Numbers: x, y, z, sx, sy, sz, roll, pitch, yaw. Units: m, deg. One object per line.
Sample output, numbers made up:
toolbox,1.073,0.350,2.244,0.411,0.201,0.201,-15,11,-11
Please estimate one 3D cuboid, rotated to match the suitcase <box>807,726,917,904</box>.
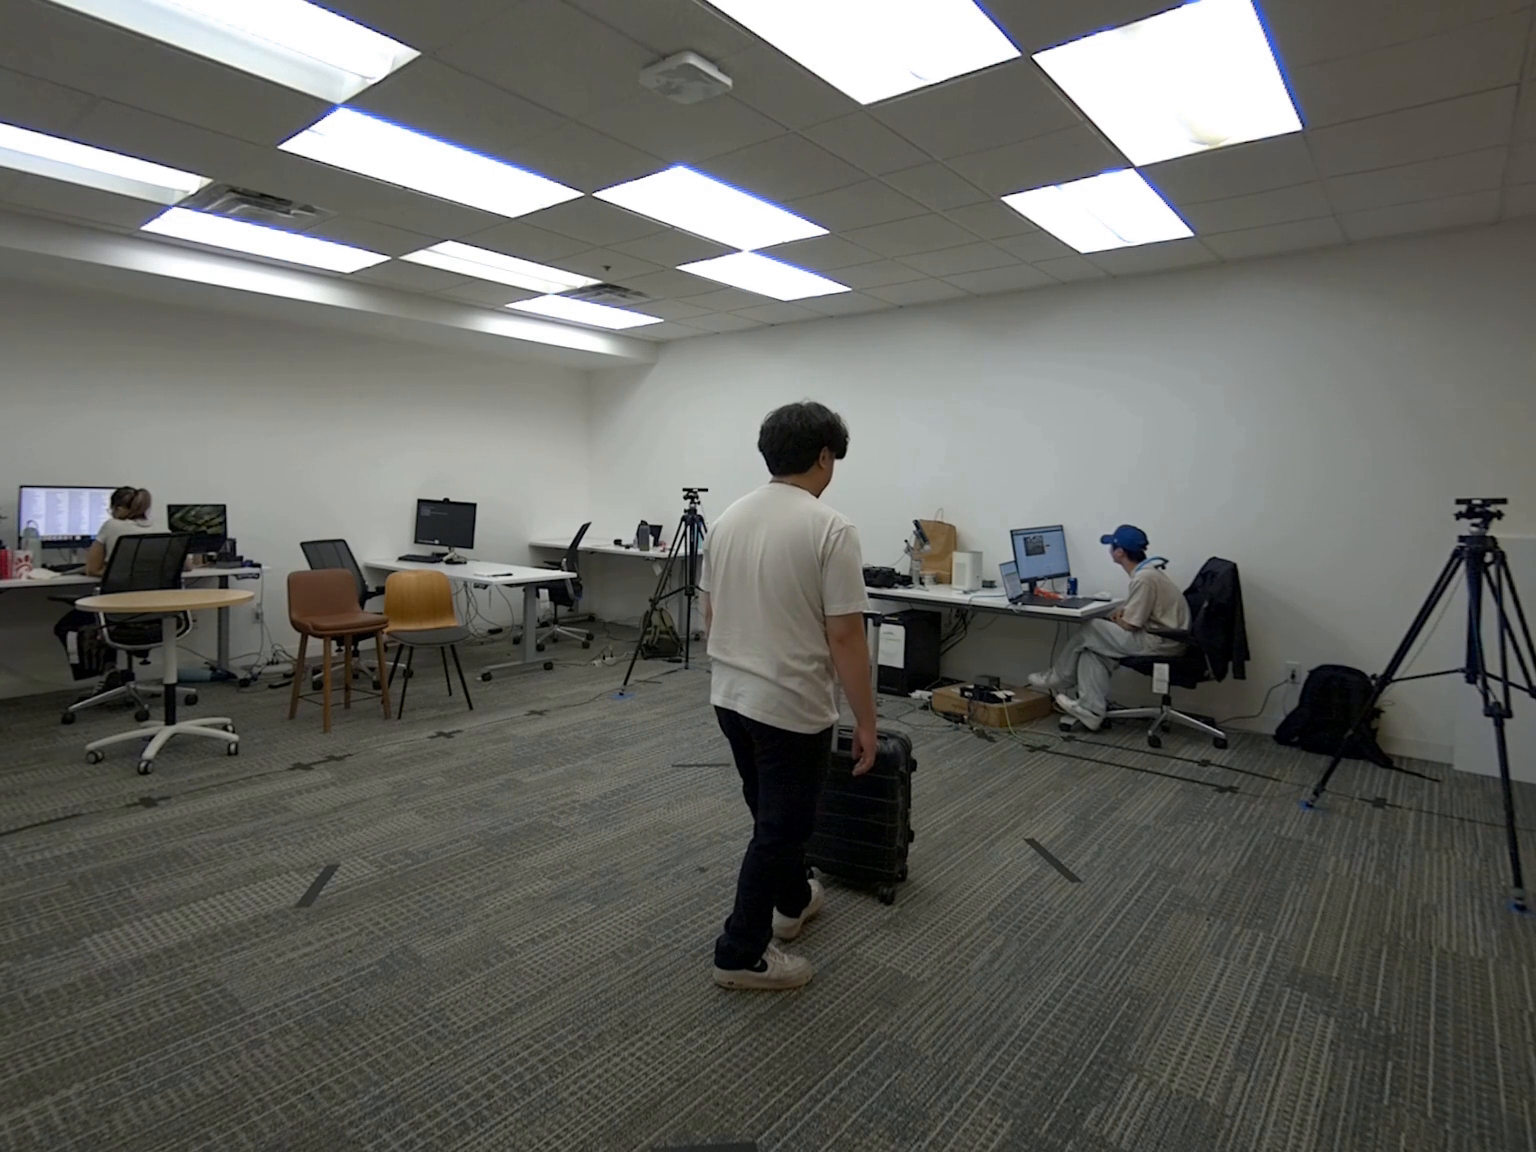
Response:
suitcase,0.326,0.610,3.051,0.393,0.979,0.251,2,-1,23
